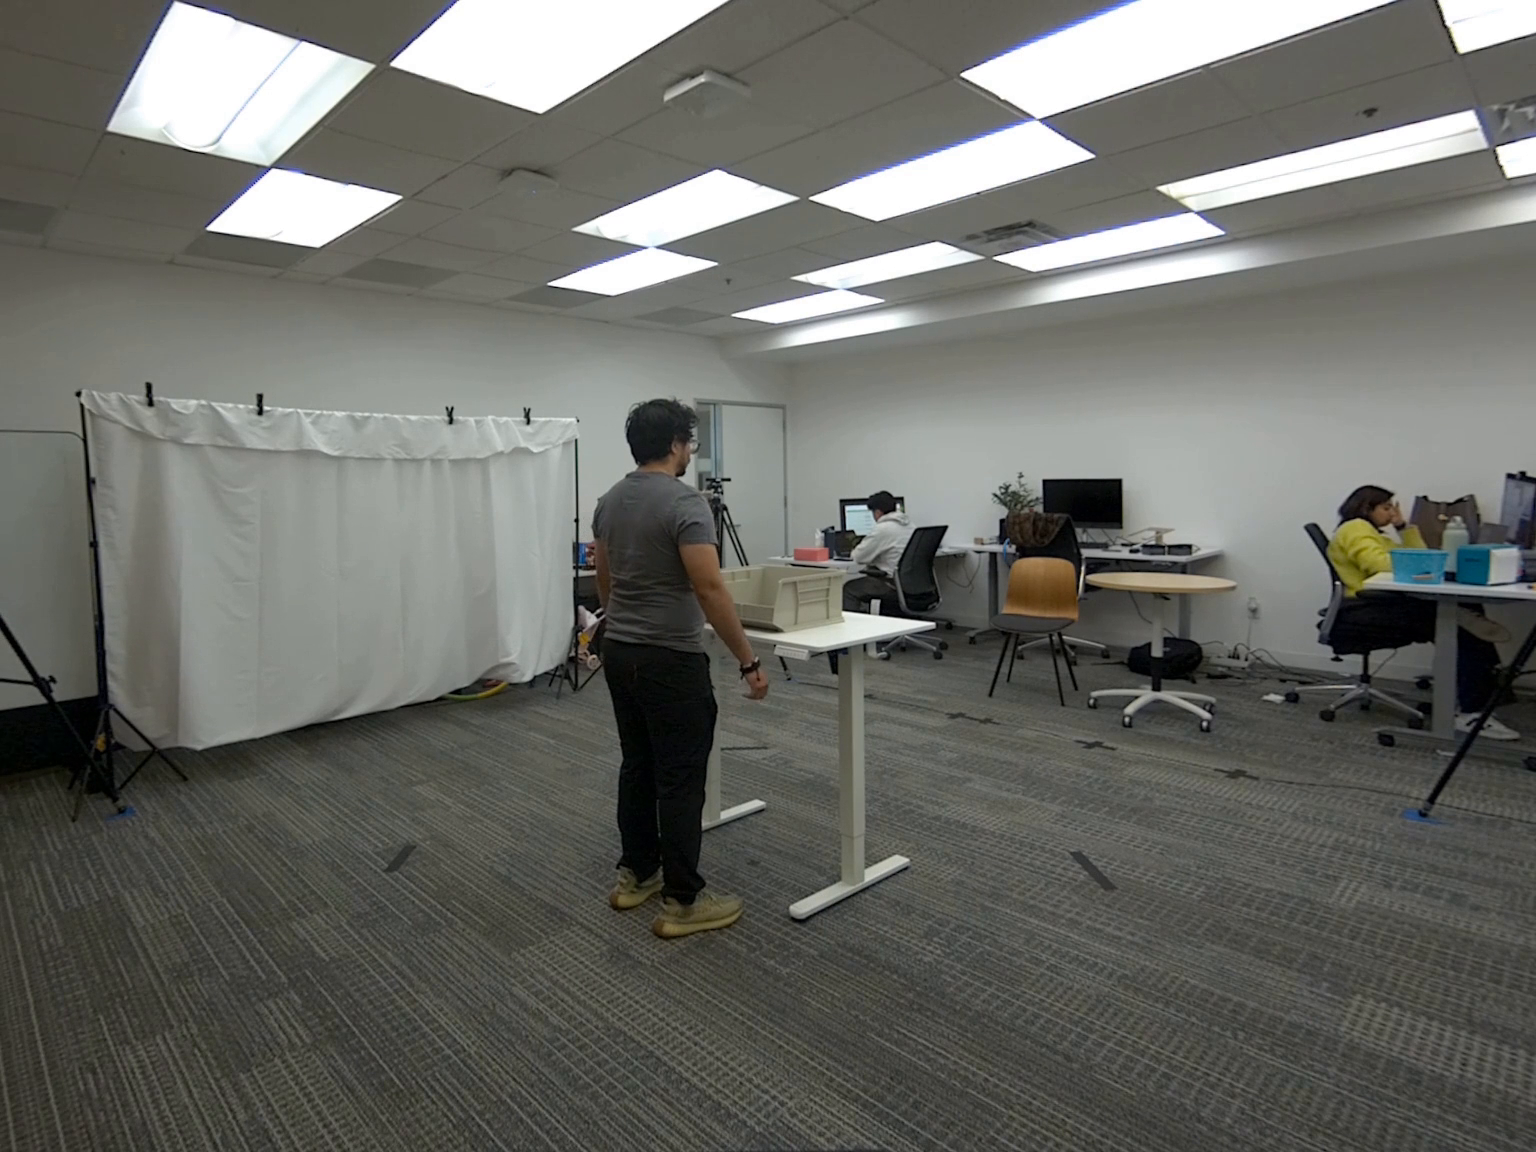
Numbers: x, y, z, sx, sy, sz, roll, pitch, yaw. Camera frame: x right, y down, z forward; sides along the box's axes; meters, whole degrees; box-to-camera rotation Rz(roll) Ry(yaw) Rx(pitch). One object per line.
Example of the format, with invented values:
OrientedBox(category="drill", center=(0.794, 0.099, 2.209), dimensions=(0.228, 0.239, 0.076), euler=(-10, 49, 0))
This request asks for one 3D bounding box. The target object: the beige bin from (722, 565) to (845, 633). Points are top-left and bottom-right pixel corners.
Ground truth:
OrientedBox(category="beige bin", center=(0.004, 0.076, 3.043), dimensions=(0.367, 0.188, 0.435), euler=(-5, 7, -44))
